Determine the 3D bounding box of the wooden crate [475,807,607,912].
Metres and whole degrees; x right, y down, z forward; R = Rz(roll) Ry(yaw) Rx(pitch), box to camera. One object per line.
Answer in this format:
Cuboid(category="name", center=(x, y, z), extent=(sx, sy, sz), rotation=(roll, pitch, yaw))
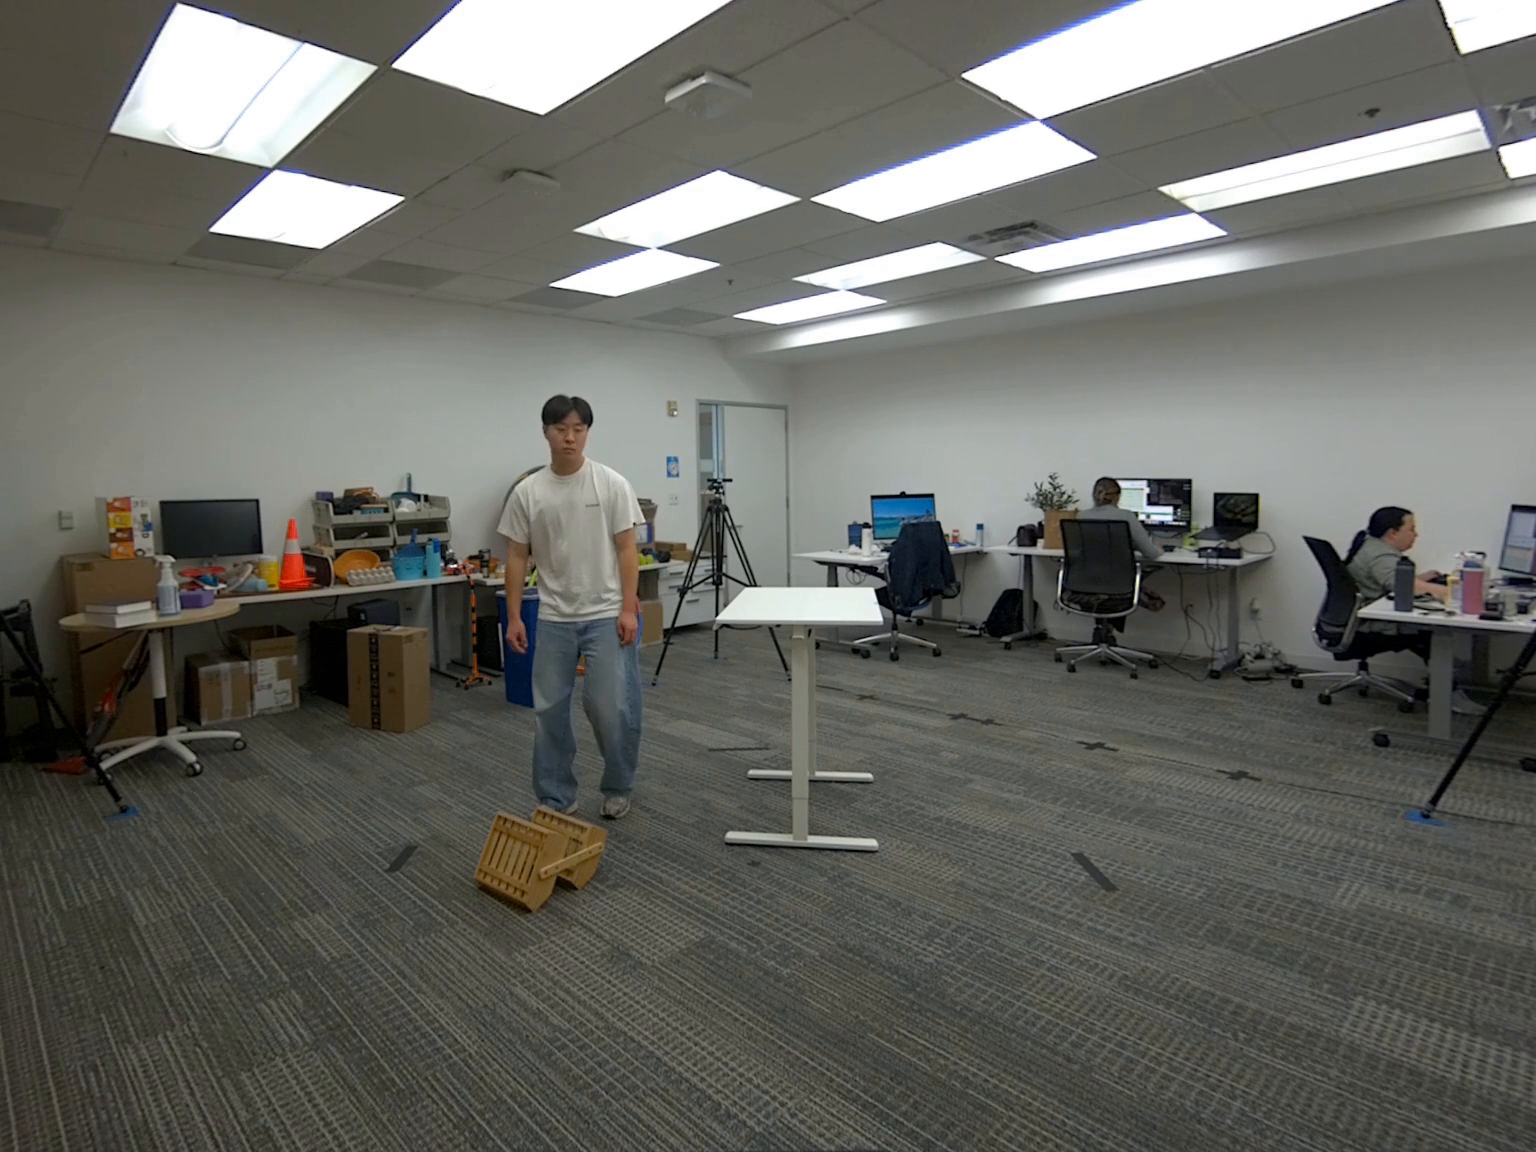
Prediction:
Cuboid(category="wooden crate", center=(-0.795, 0.989, 2.992), extent=(0.334, 0.305, 0.263), rotation=(4, -21, 39))
